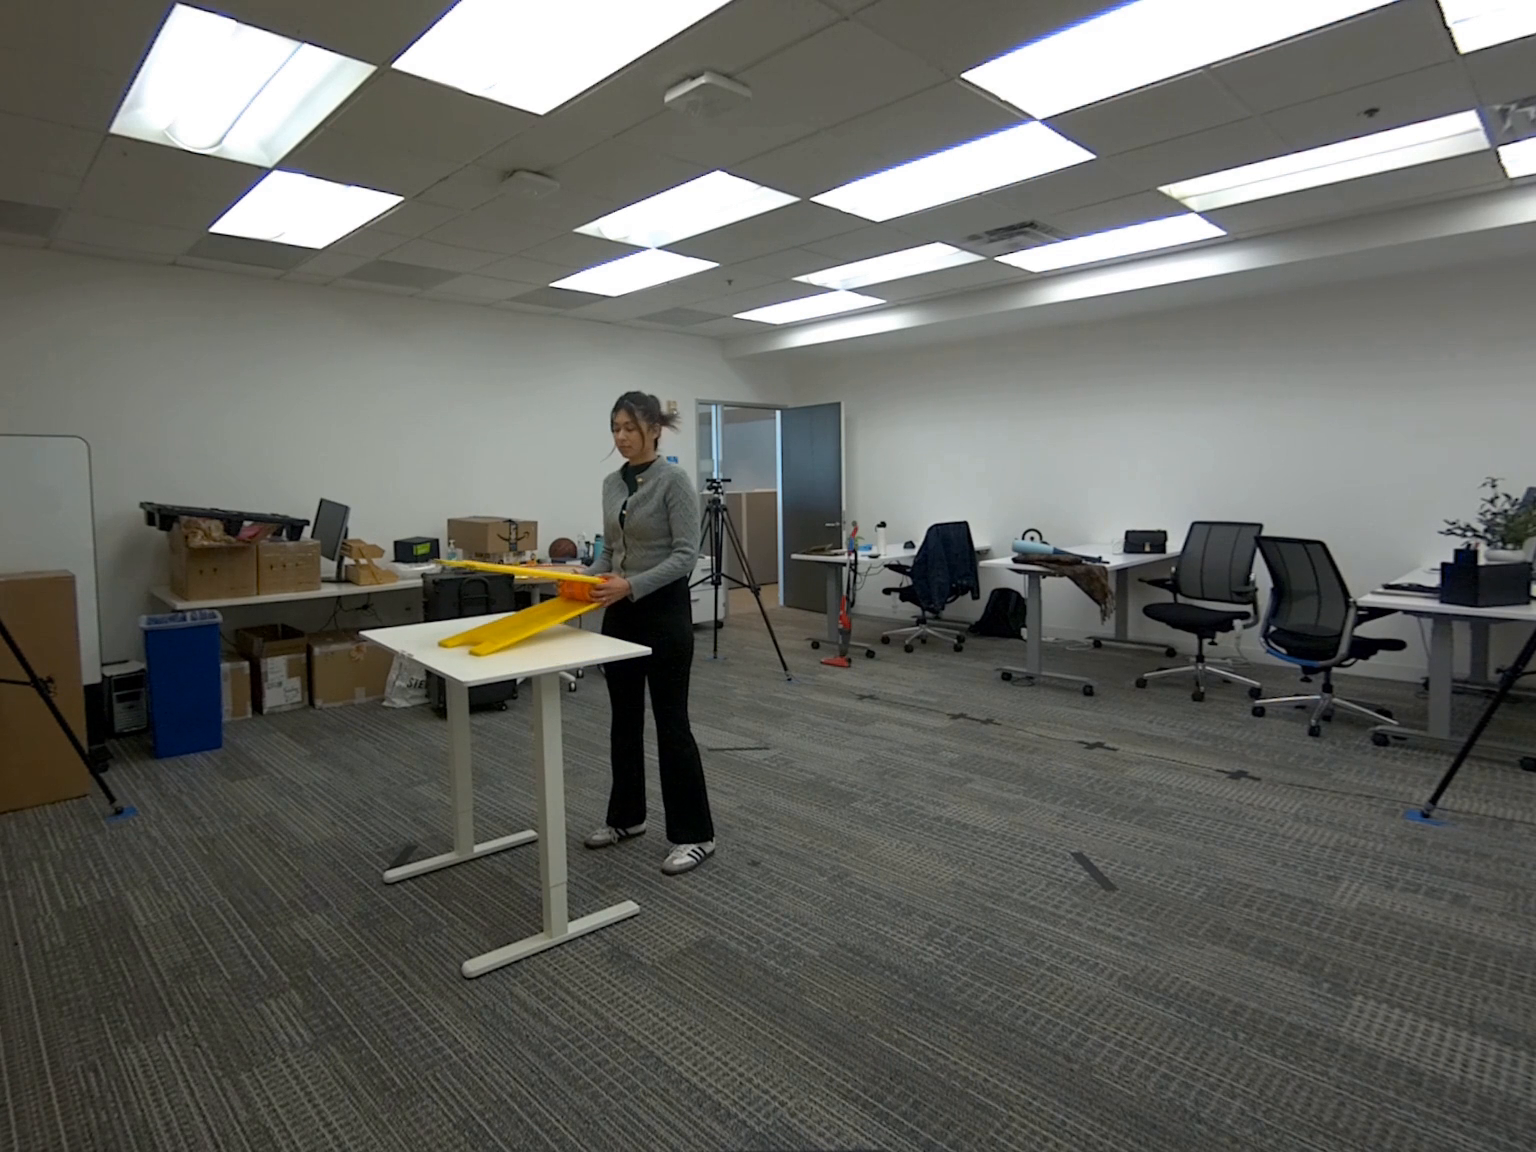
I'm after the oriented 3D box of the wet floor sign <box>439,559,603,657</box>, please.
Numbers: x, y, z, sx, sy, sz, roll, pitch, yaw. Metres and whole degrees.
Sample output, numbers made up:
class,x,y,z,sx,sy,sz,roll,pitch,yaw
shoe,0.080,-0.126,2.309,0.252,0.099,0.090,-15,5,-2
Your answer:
class,x,y,z,sx,sy,sz,roll,pitch,yaw
wet floor sign,-0.756,0.063,2.883,0.291,0.288,0.630,5,10,43
